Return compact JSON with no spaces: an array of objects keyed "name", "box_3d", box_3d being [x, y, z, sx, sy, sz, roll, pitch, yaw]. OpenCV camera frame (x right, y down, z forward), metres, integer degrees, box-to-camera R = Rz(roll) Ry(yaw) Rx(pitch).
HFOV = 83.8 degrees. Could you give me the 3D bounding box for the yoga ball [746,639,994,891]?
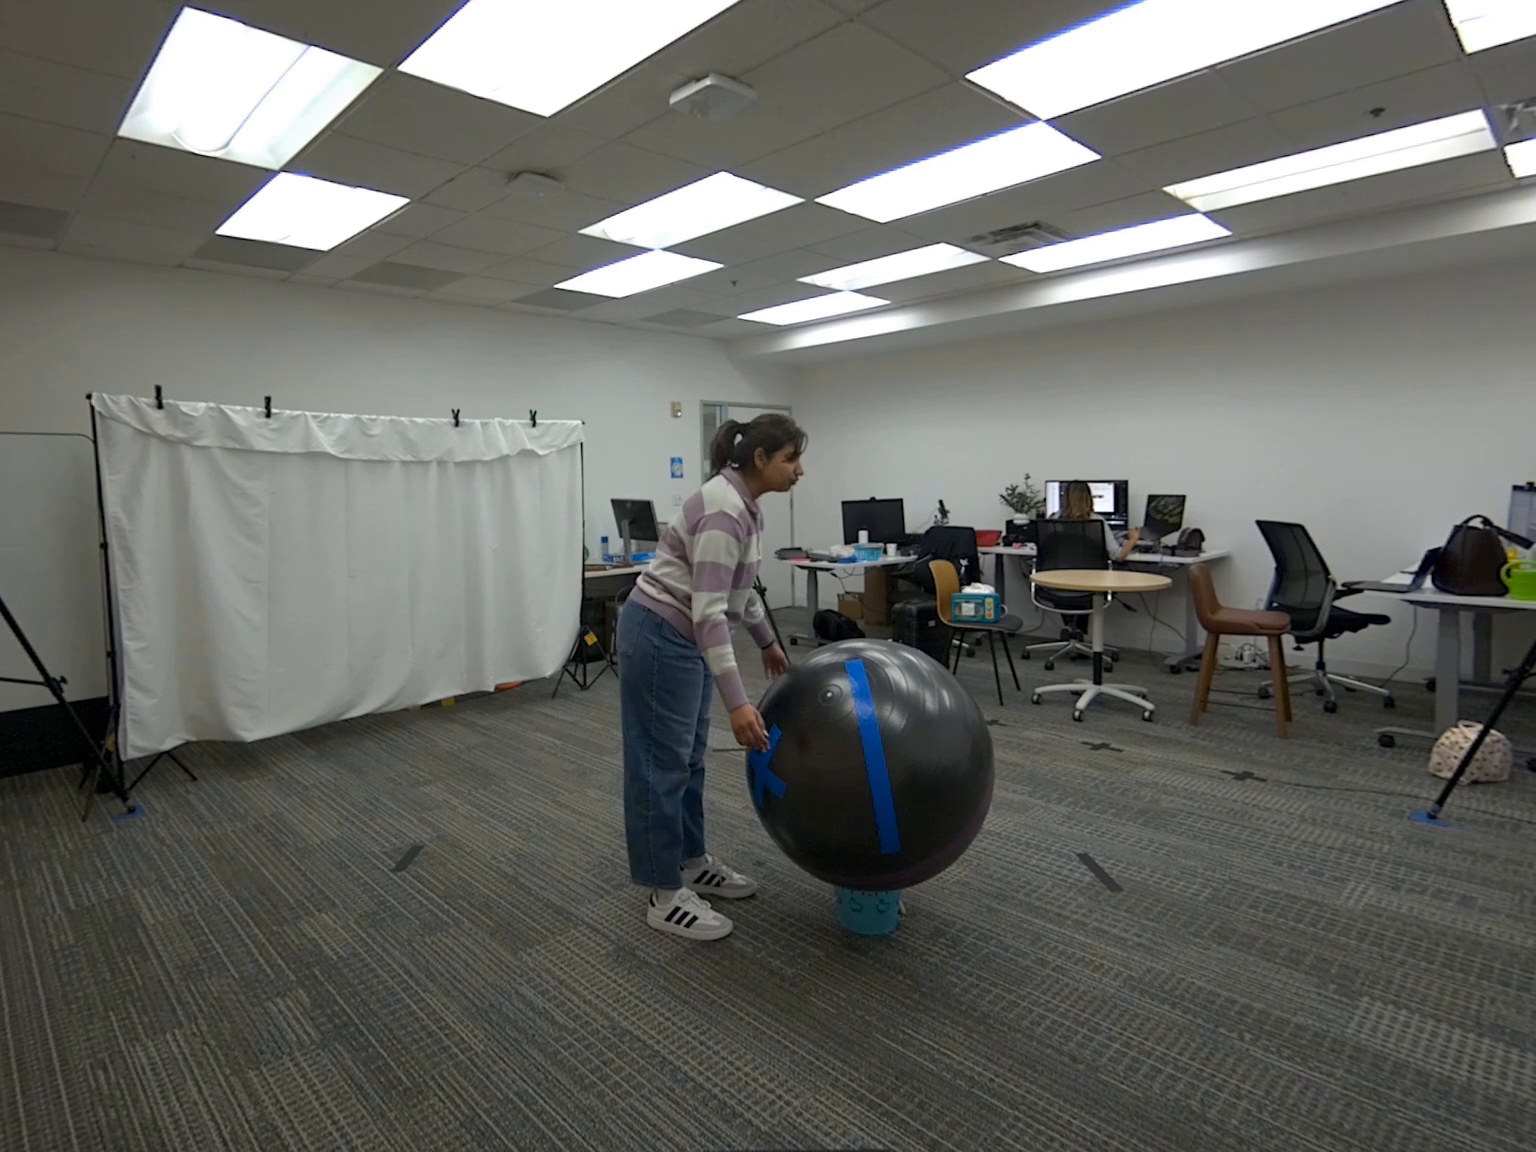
[{"name":"yoga ball","box_3d":[0.322,0.585,2.648,0.757,0.755,0.762,-1,5,-2]}]
